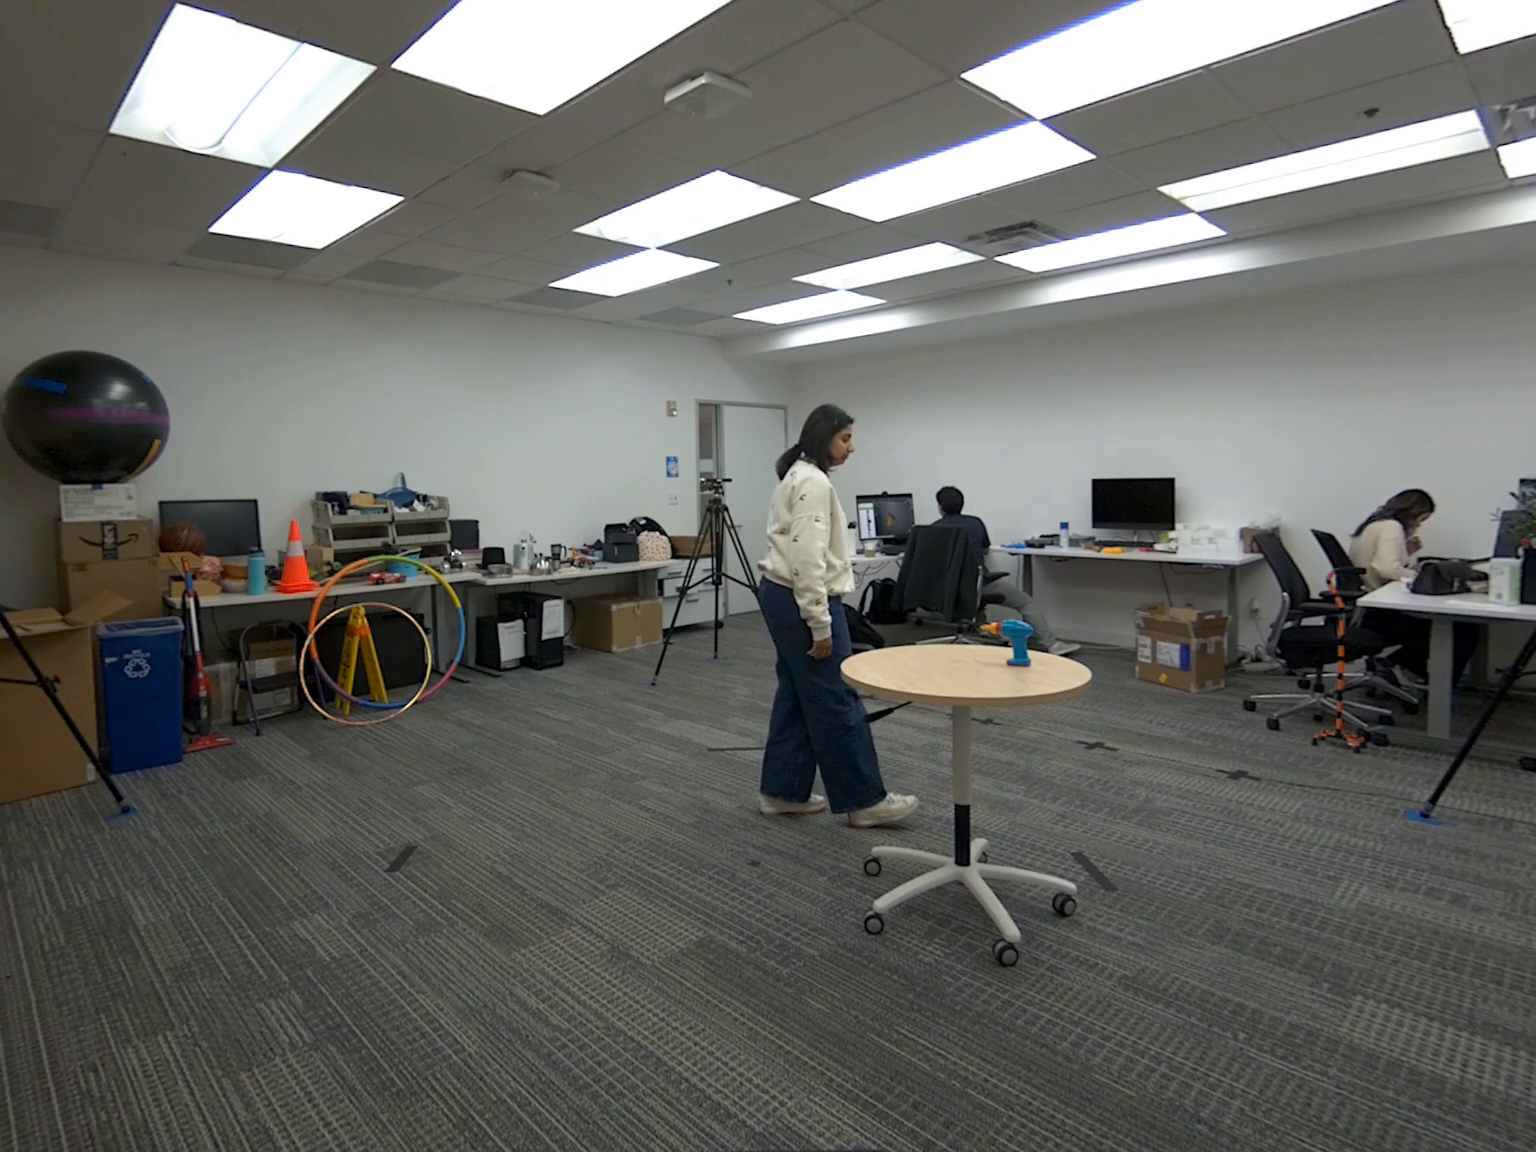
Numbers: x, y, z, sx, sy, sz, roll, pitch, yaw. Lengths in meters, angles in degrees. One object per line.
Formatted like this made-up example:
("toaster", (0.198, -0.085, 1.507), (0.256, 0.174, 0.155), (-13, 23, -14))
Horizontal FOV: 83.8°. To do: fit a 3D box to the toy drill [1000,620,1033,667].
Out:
("toy drill", (0.783, 0.212, 2.752), (0.174, 0.145, 0.060), (3, 7, 31))
